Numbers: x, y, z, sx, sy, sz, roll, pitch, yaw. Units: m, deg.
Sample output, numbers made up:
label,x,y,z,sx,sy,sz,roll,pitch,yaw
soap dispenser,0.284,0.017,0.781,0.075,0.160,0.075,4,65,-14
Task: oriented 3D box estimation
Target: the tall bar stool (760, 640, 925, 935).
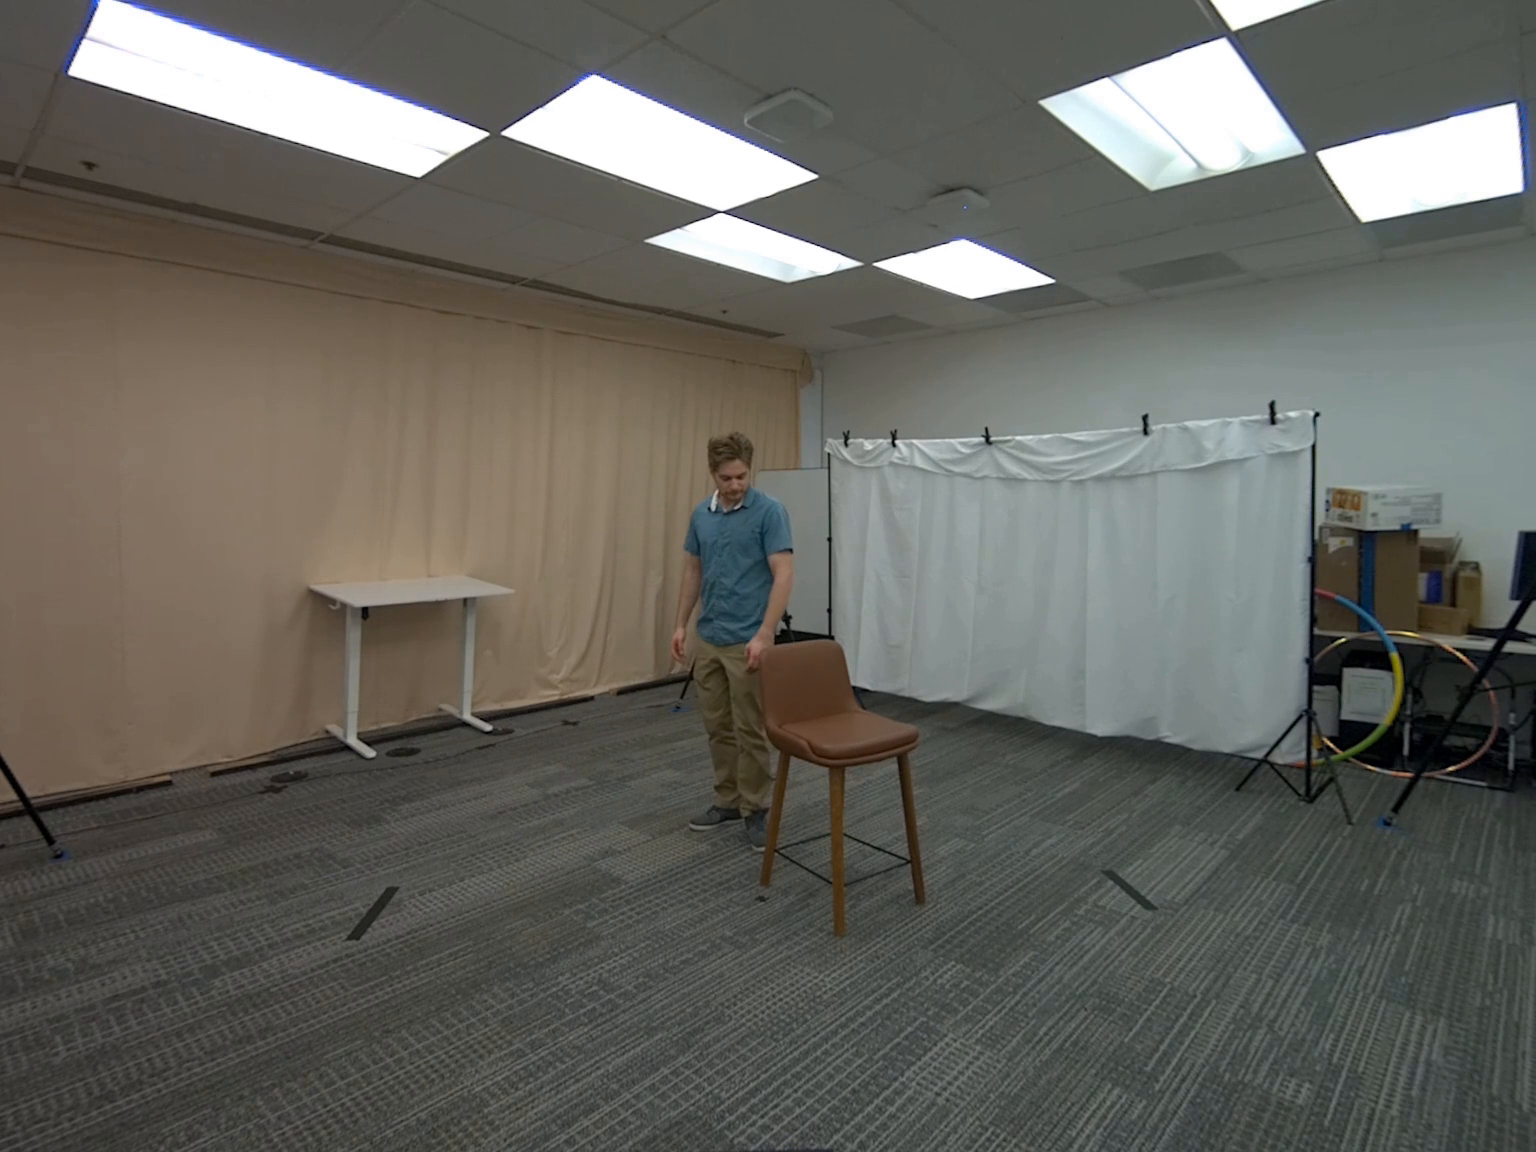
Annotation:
label,x,y,z,sx,sy,sz,roll,pitch,yaw
tall bar stool,0.254,0.706,2.998,0.443,0.888,0.482,-3,2,-36
